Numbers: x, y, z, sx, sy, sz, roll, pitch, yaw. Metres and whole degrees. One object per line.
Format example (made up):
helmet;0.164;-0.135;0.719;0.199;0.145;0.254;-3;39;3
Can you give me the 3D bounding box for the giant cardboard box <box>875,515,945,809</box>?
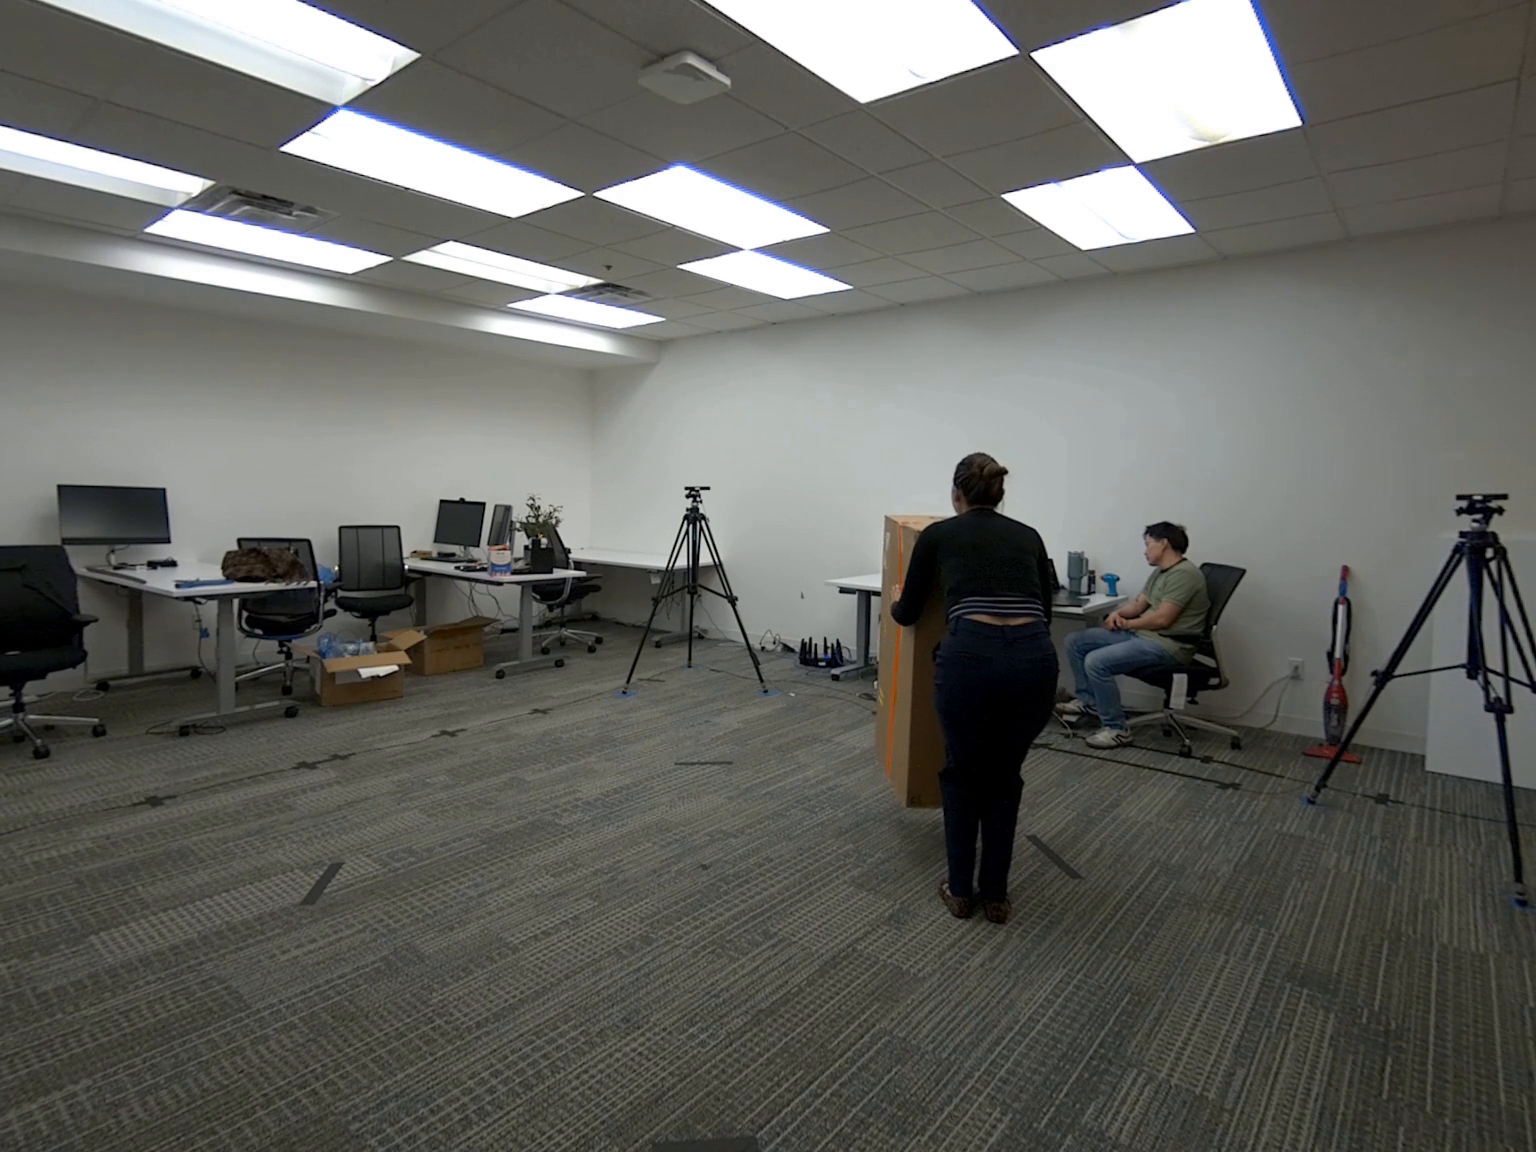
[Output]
giant cardboard box;0.691;0.303;3.328;0.426;1.019;0.583;1;8;-3
